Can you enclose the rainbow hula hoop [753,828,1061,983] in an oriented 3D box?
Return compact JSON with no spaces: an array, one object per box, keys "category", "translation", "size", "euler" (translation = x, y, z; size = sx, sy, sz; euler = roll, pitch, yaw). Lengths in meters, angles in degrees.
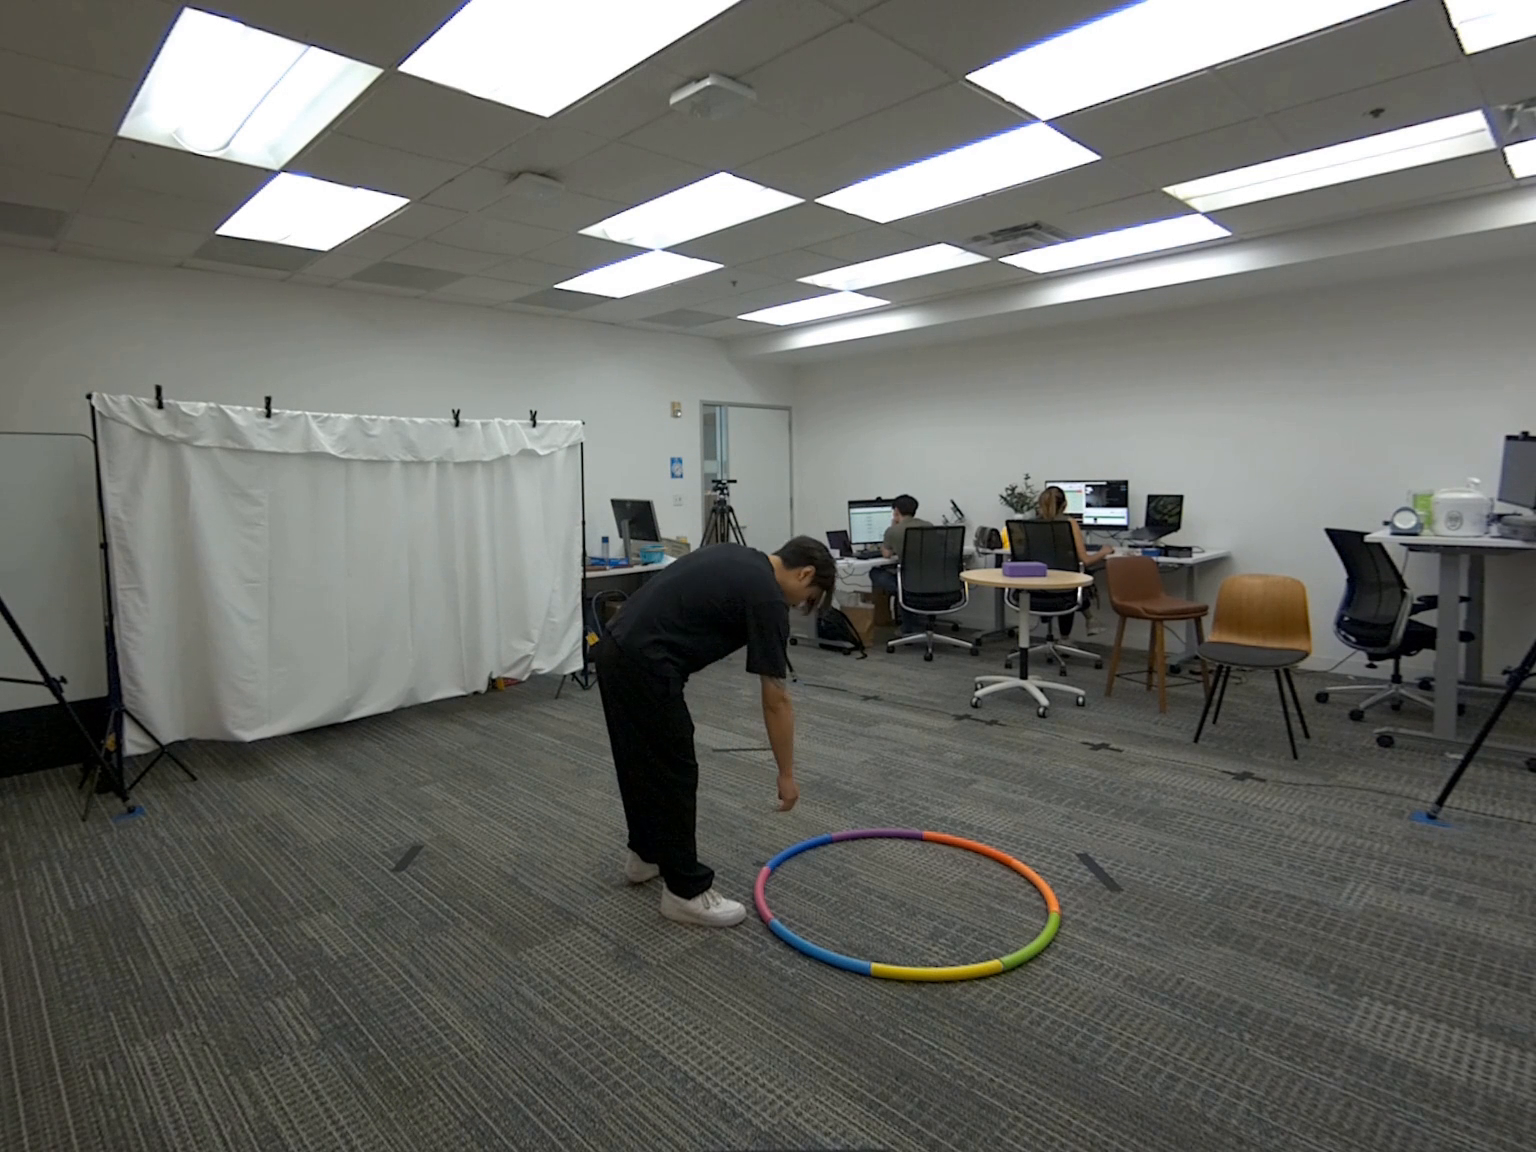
[{"category":"rainbow hula hoop","translation":[0.437,1.037,2.845],"size":[0.978,0.035,0.984],"euler":[-2,6,-2]}]
